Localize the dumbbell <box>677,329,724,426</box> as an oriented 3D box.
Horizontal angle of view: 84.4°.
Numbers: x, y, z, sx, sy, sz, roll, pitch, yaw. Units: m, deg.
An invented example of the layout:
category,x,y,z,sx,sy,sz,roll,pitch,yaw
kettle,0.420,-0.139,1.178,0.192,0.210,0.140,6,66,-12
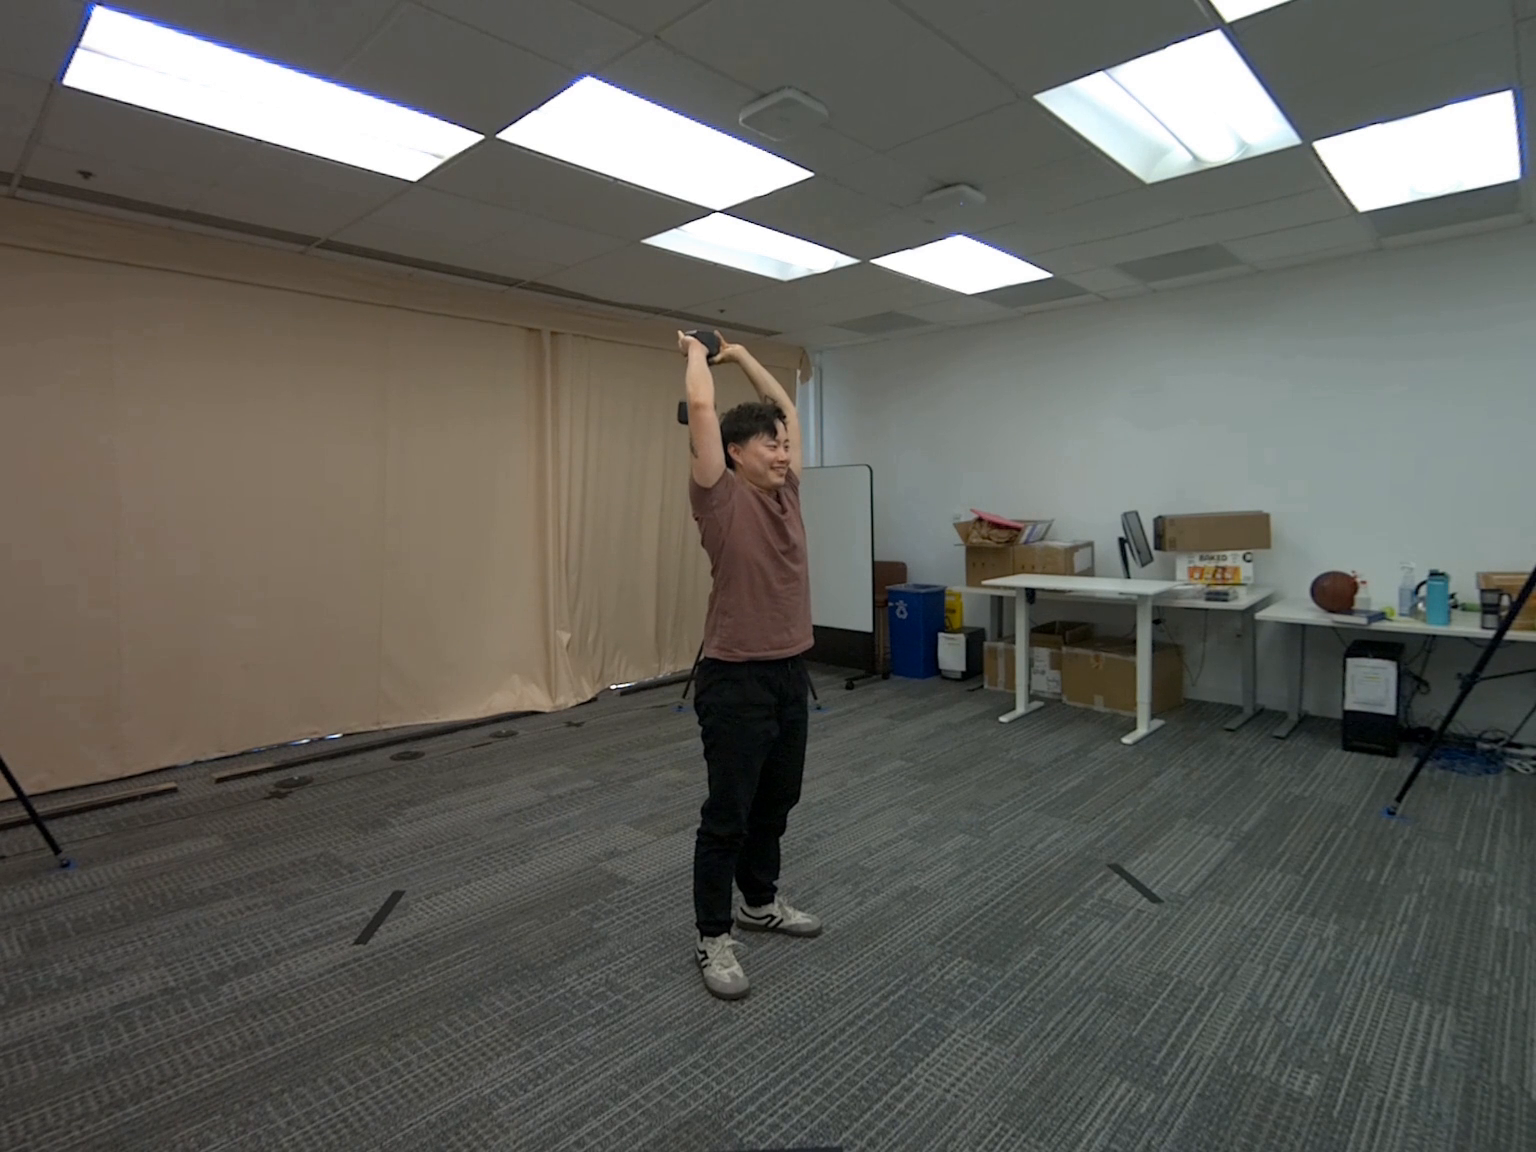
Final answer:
category,x,y,z,sx,sy,sz,roll,pitch,yaw
dumbbell,-0.215,-0.627,2.678,0.105,0.292,0.127,2,9,-41
